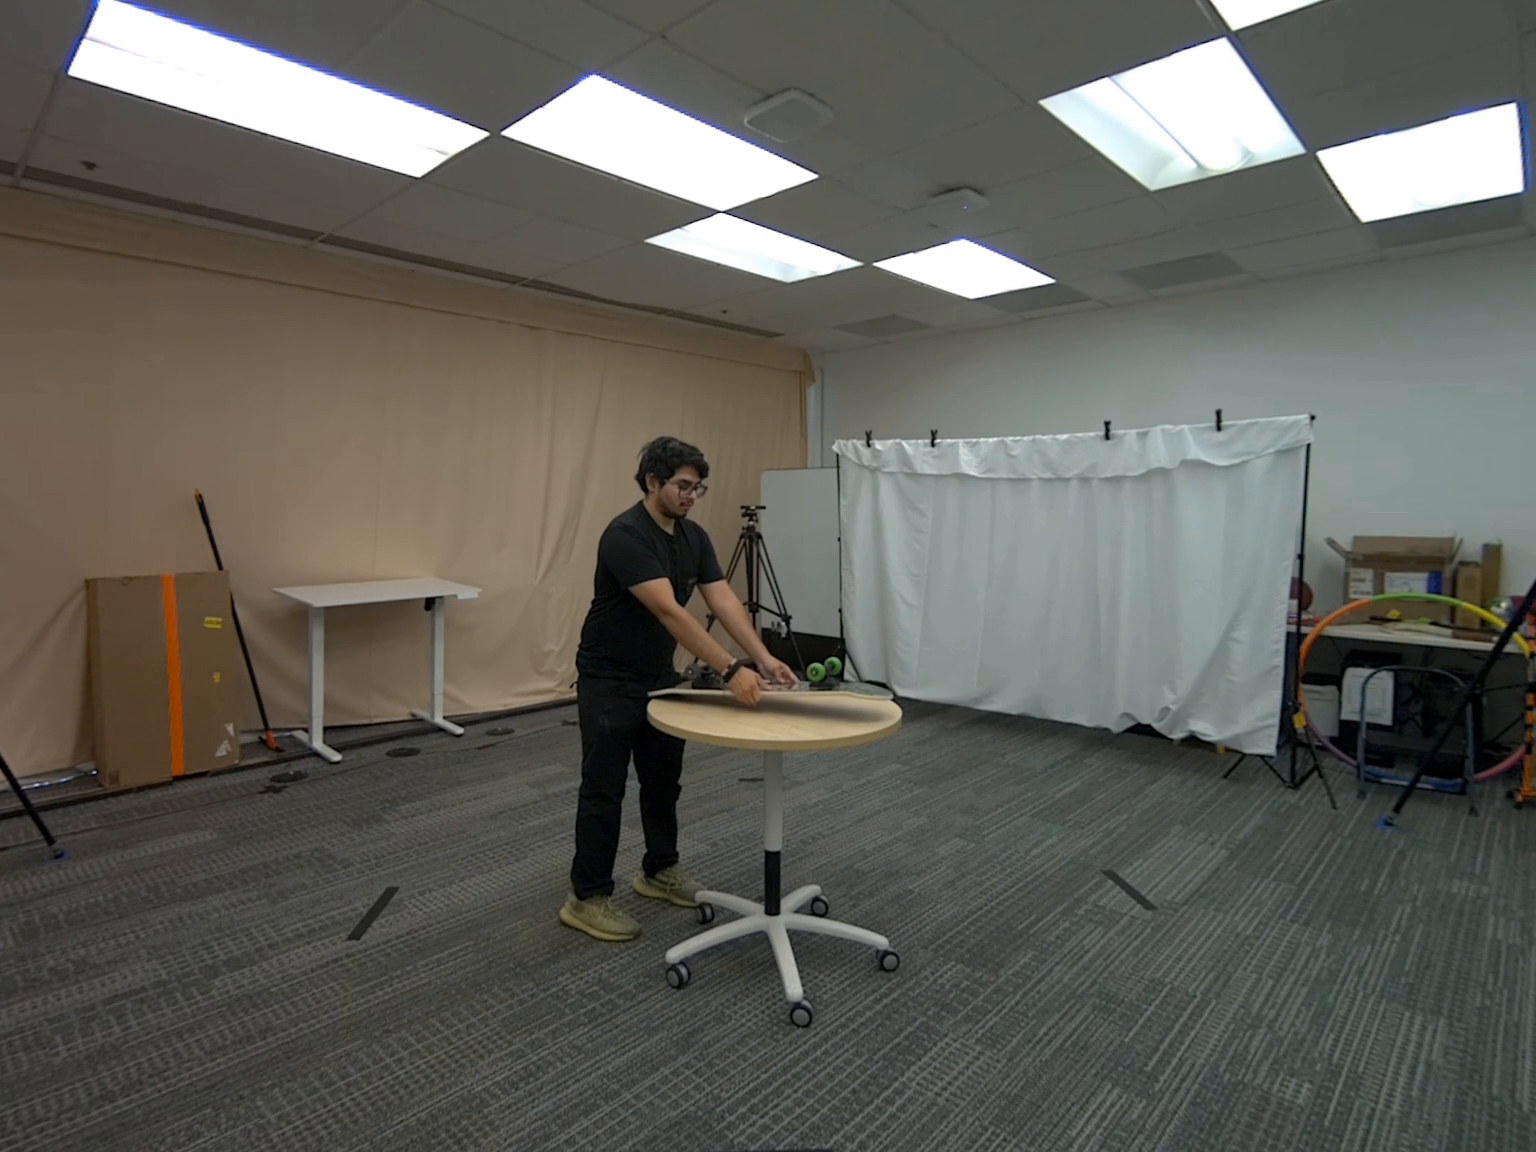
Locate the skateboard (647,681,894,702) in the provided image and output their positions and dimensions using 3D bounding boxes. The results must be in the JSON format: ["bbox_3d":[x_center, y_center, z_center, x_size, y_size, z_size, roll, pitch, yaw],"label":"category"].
[{"bbox_3d":[-0.006,0.318,2.544,0.806,0.110,0.188,-4,-2,28],"label":"skateboard"}]
